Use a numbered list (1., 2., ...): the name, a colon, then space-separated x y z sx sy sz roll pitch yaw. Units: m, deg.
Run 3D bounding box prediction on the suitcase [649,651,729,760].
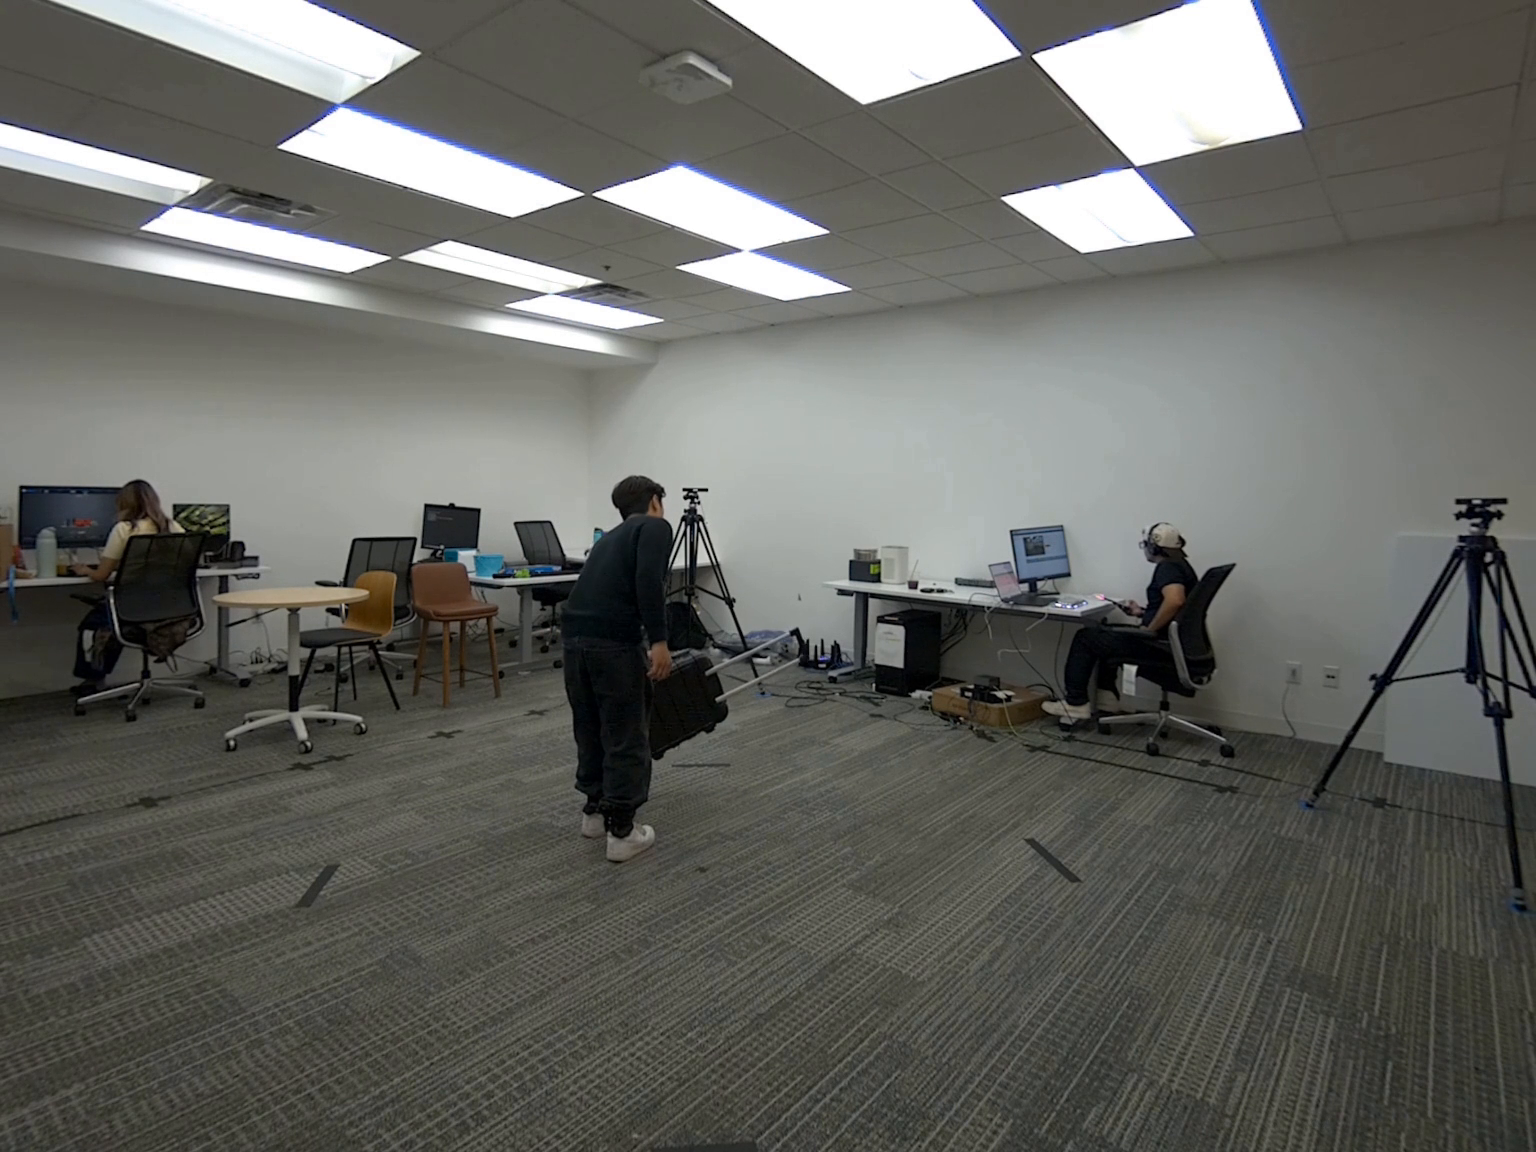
1. suitcase: -0.310 0.495 3.870 0.967 0.381 0.262 -25 8 -21
